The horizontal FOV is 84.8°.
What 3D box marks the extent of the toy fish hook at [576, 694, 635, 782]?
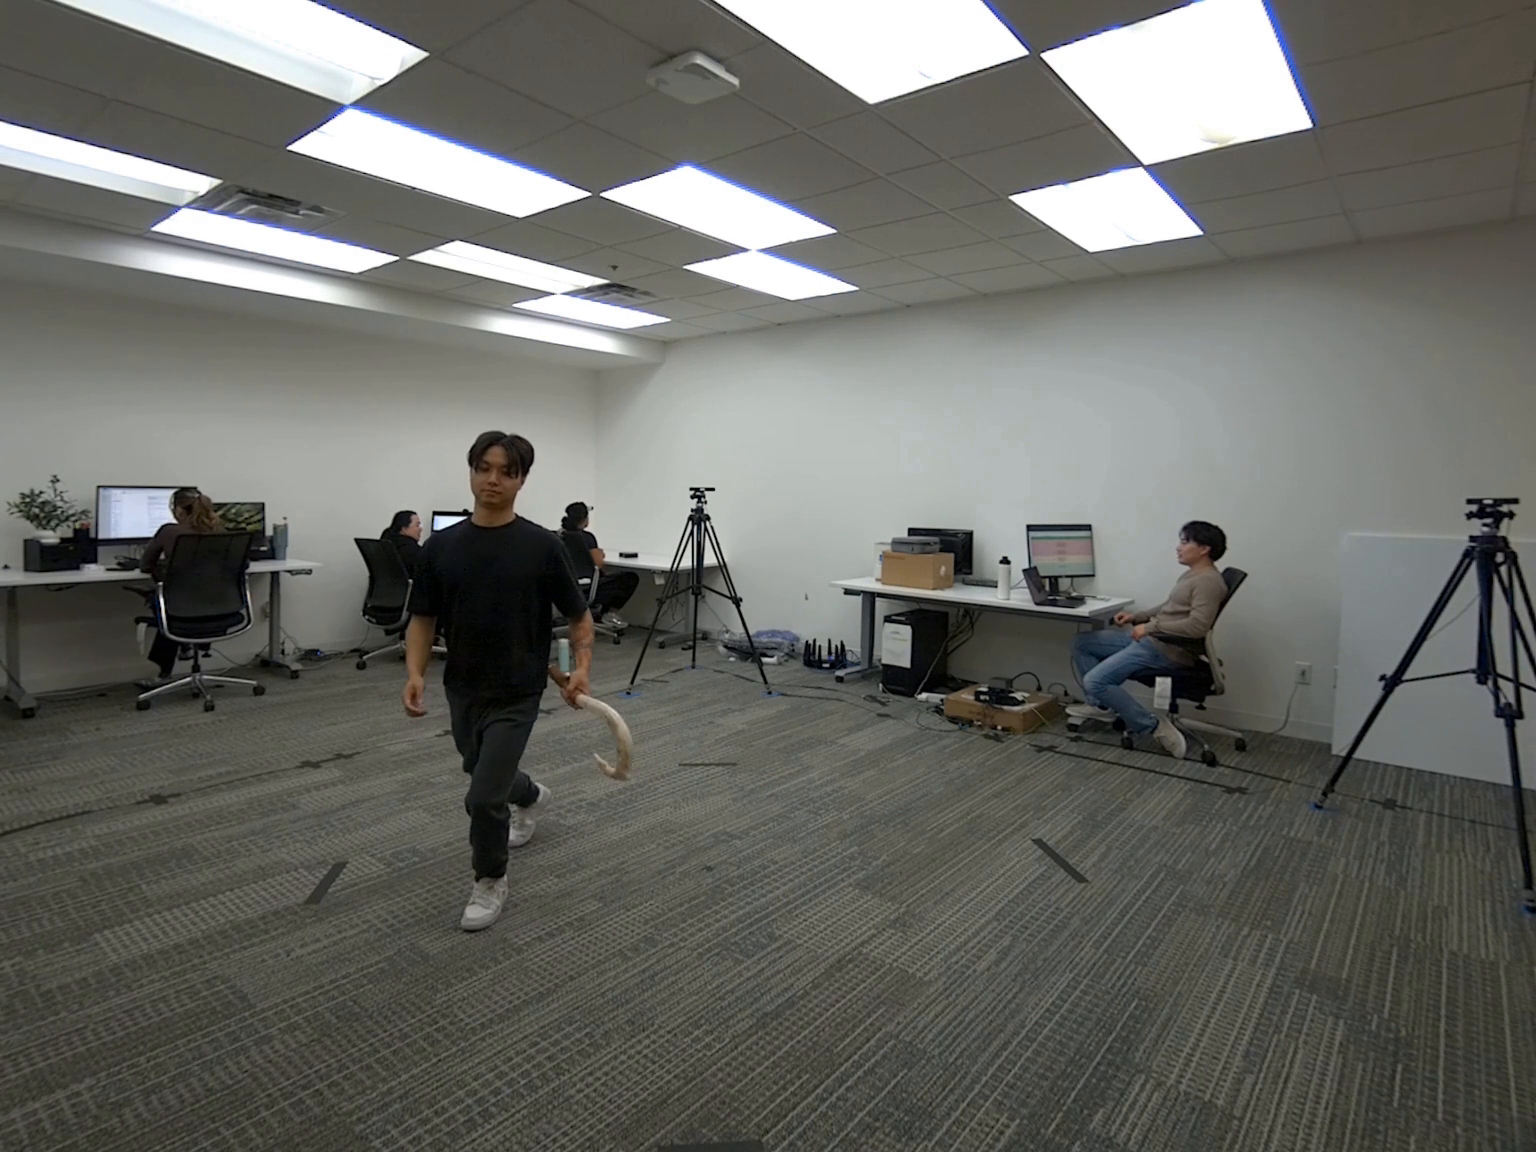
[{"bbox_3d":[-0.557,0.427,2.567,0.047,0.222,0.528,-2,22,-39],"label":"toy fish hook"}]
